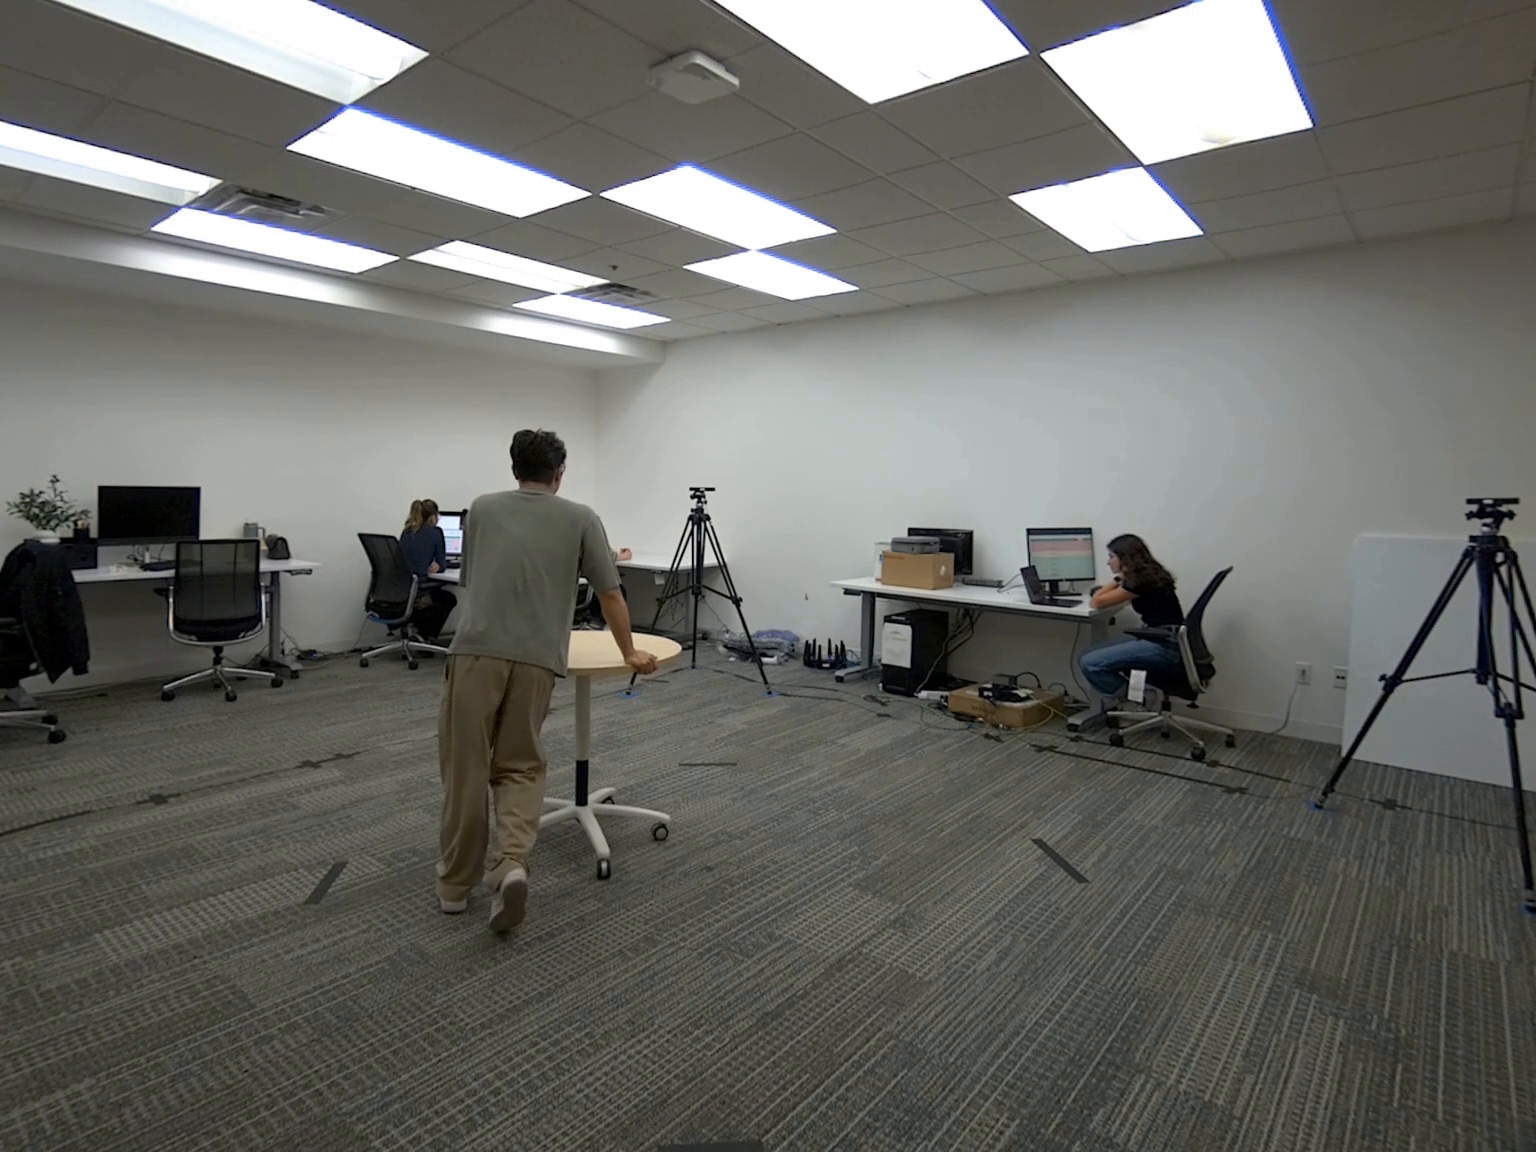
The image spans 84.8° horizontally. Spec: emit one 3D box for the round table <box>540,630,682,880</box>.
[{"bbox_3d":[-0.721,0.657,3.321,0.784,0.784,0.789,0,4,-2],"label":"round table"}]
